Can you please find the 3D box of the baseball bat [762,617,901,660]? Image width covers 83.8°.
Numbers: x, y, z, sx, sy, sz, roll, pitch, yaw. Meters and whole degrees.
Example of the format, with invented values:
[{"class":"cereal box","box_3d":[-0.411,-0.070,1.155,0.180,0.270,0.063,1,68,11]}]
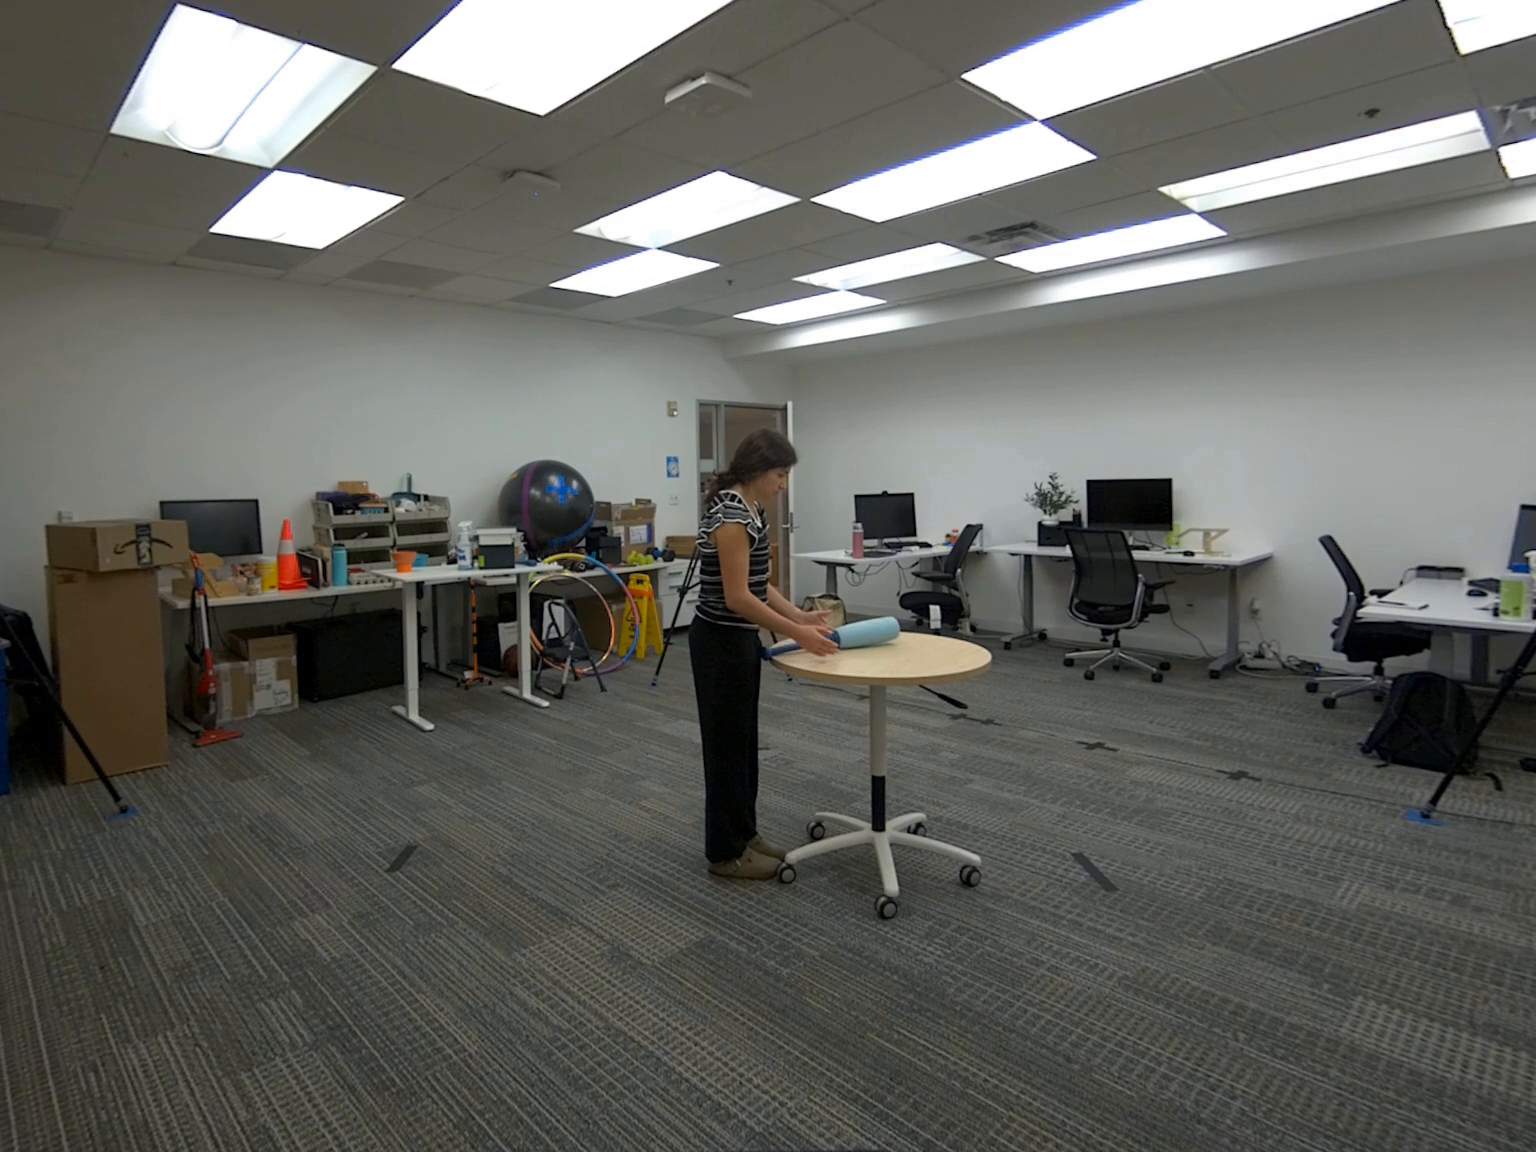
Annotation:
[{"class":"baseball bat","box_3d":[0.218,0.228,3.043,0.535,0.088,0.091,-8,7,-19]}]
